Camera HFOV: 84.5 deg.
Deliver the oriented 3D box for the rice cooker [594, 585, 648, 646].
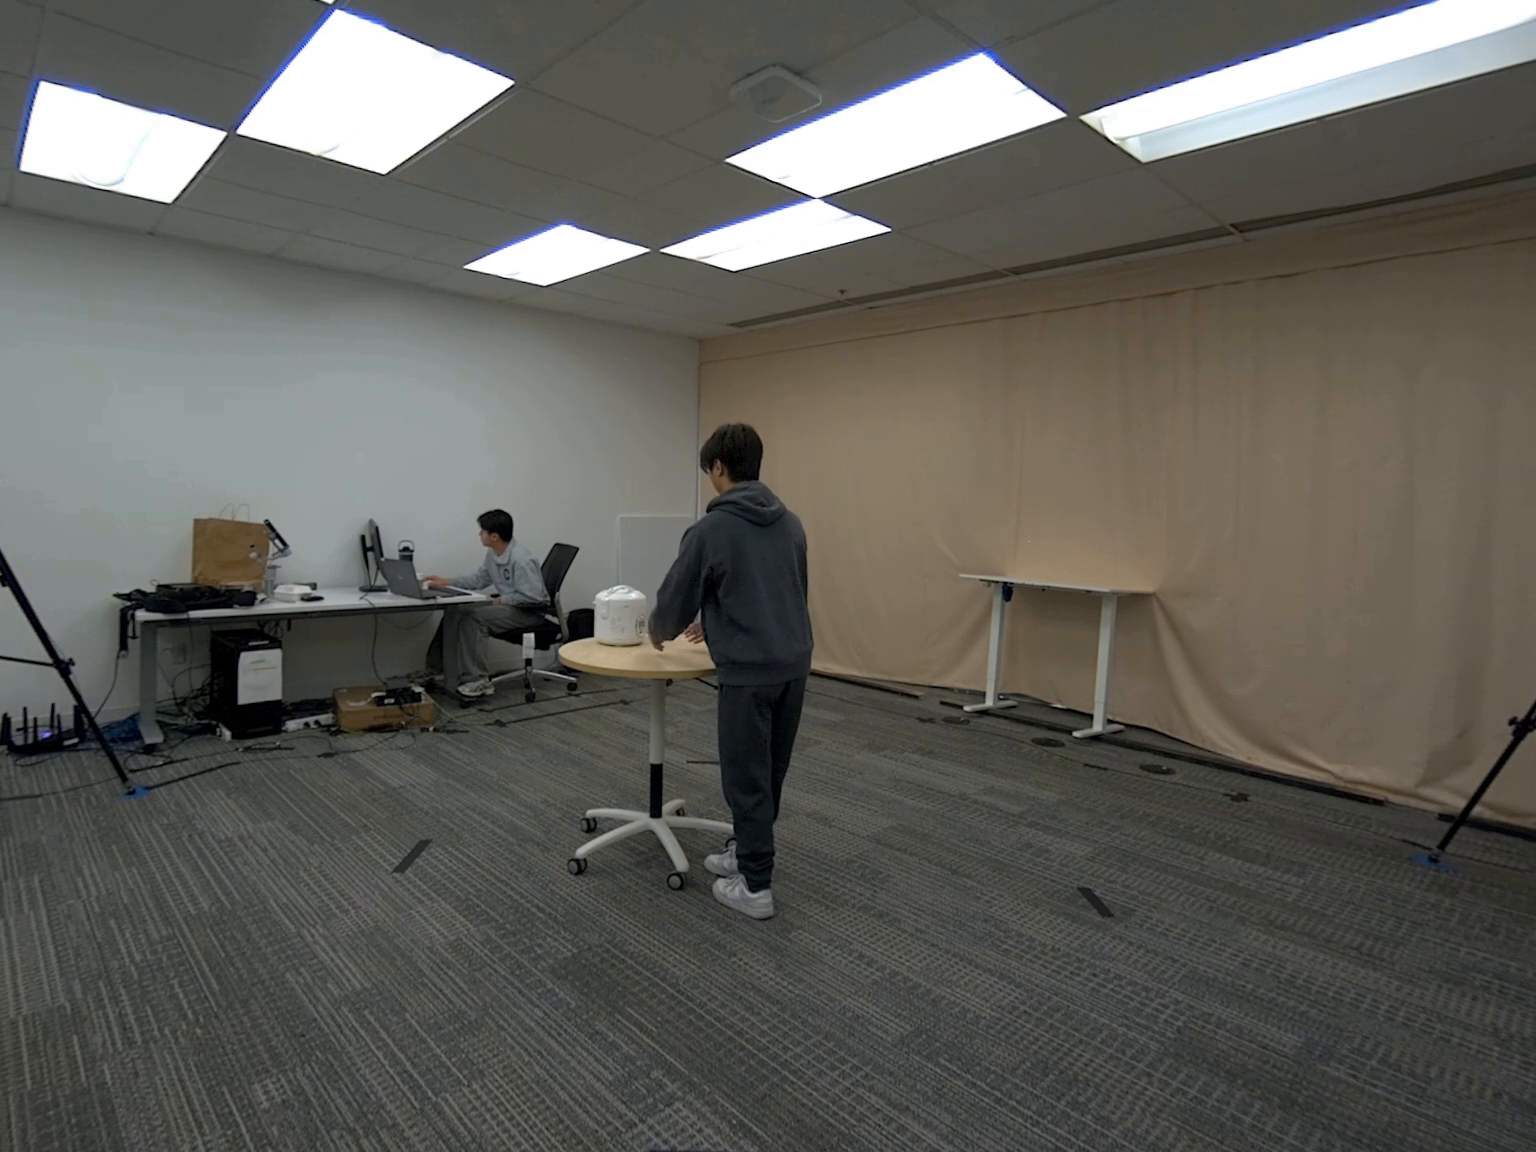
[{"bbox_3d":[-0.598,0.156,3.394,0.222,0.232,0.216,3,5,30],"label":"rice cooker"}]
